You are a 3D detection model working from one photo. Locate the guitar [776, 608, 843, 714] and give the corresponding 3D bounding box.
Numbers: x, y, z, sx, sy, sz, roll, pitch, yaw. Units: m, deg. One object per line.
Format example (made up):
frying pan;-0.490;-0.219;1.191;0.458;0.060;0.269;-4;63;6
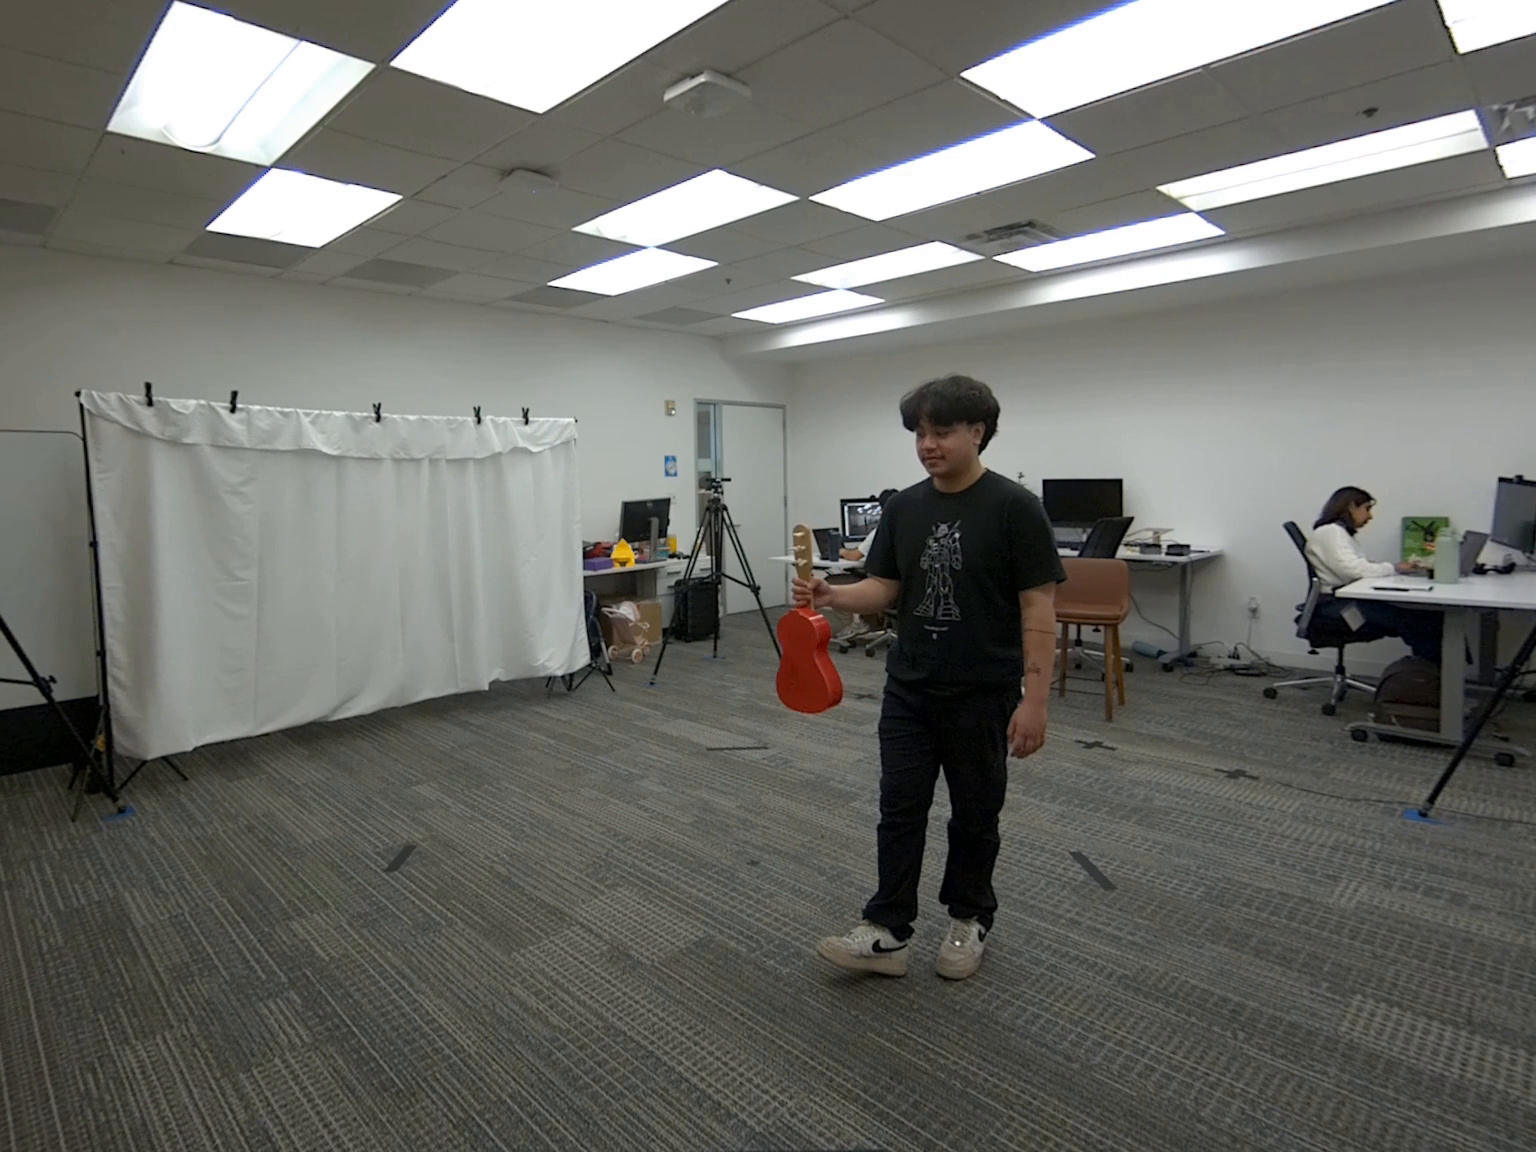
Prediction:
guitar;0.084;0.118;2.314;0.069;0.500;0.197;-6;-6;-42
